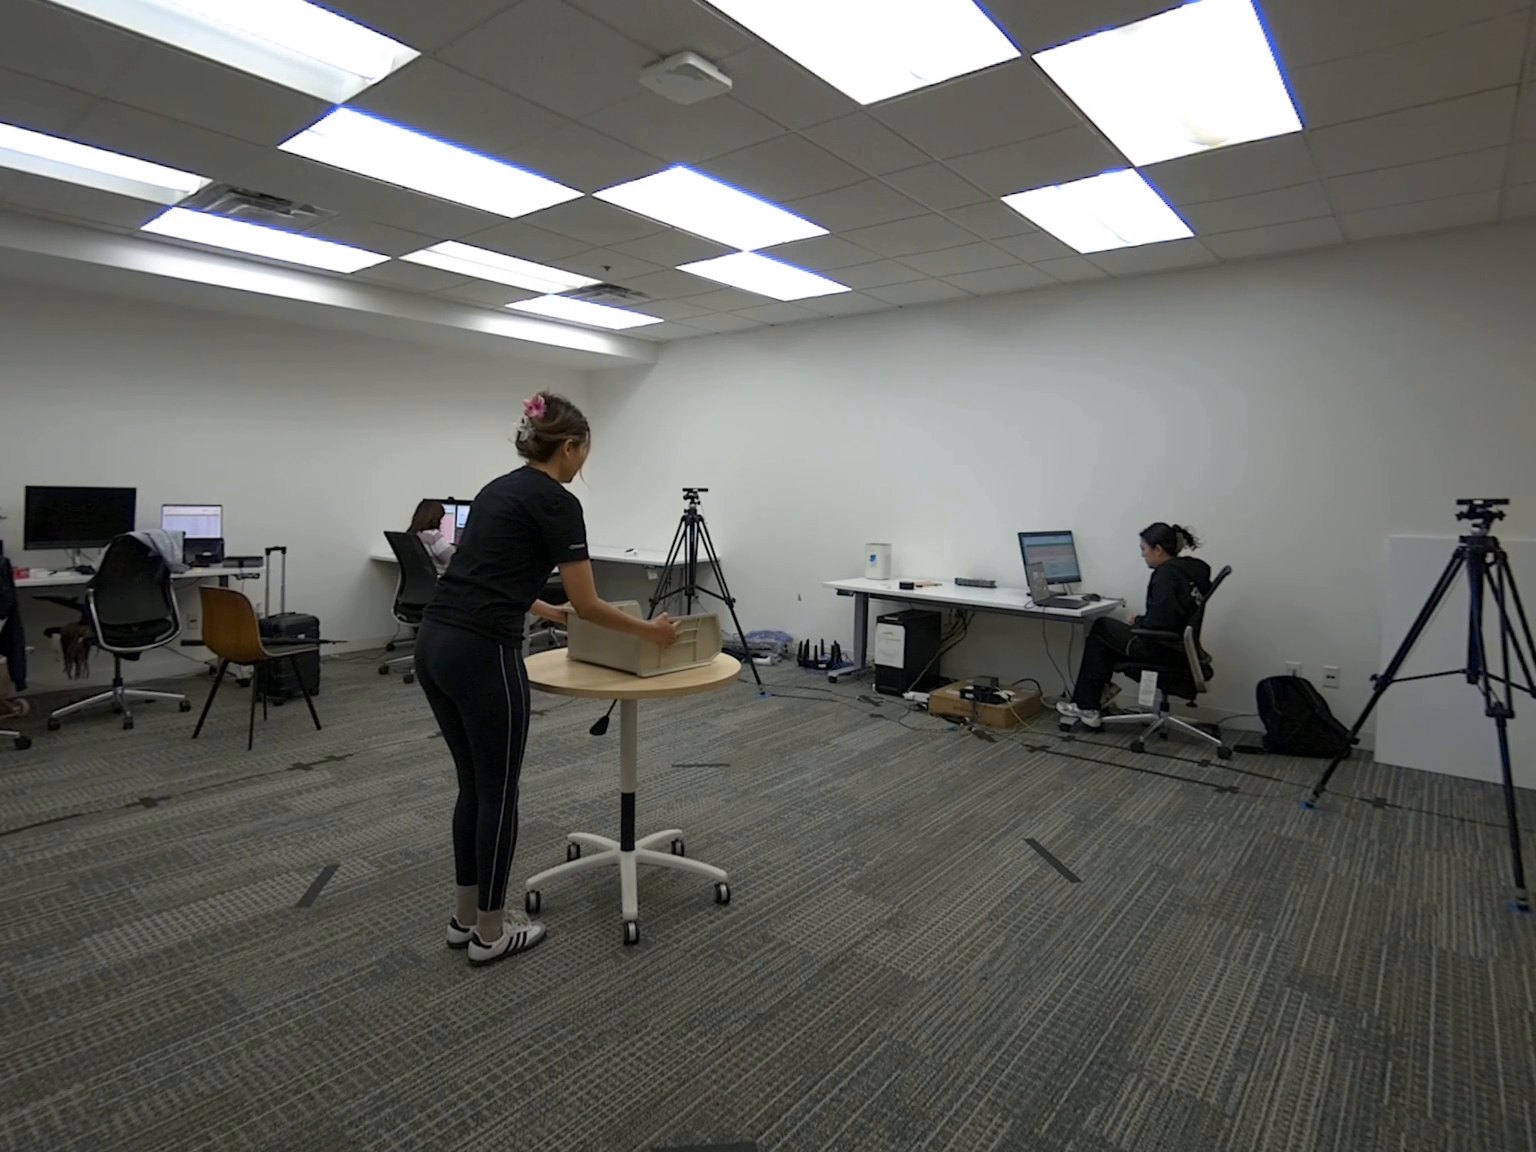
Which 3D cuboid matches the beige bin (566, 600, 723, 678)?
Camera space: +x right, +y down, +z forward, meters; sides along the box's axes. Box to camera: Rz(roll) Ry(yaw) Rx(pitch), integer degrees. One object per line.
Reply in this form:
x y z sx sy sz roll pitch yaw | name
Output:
-0.444 0.203 2.949 0.437 0.188 0.366 6 8 41 | beige bin
